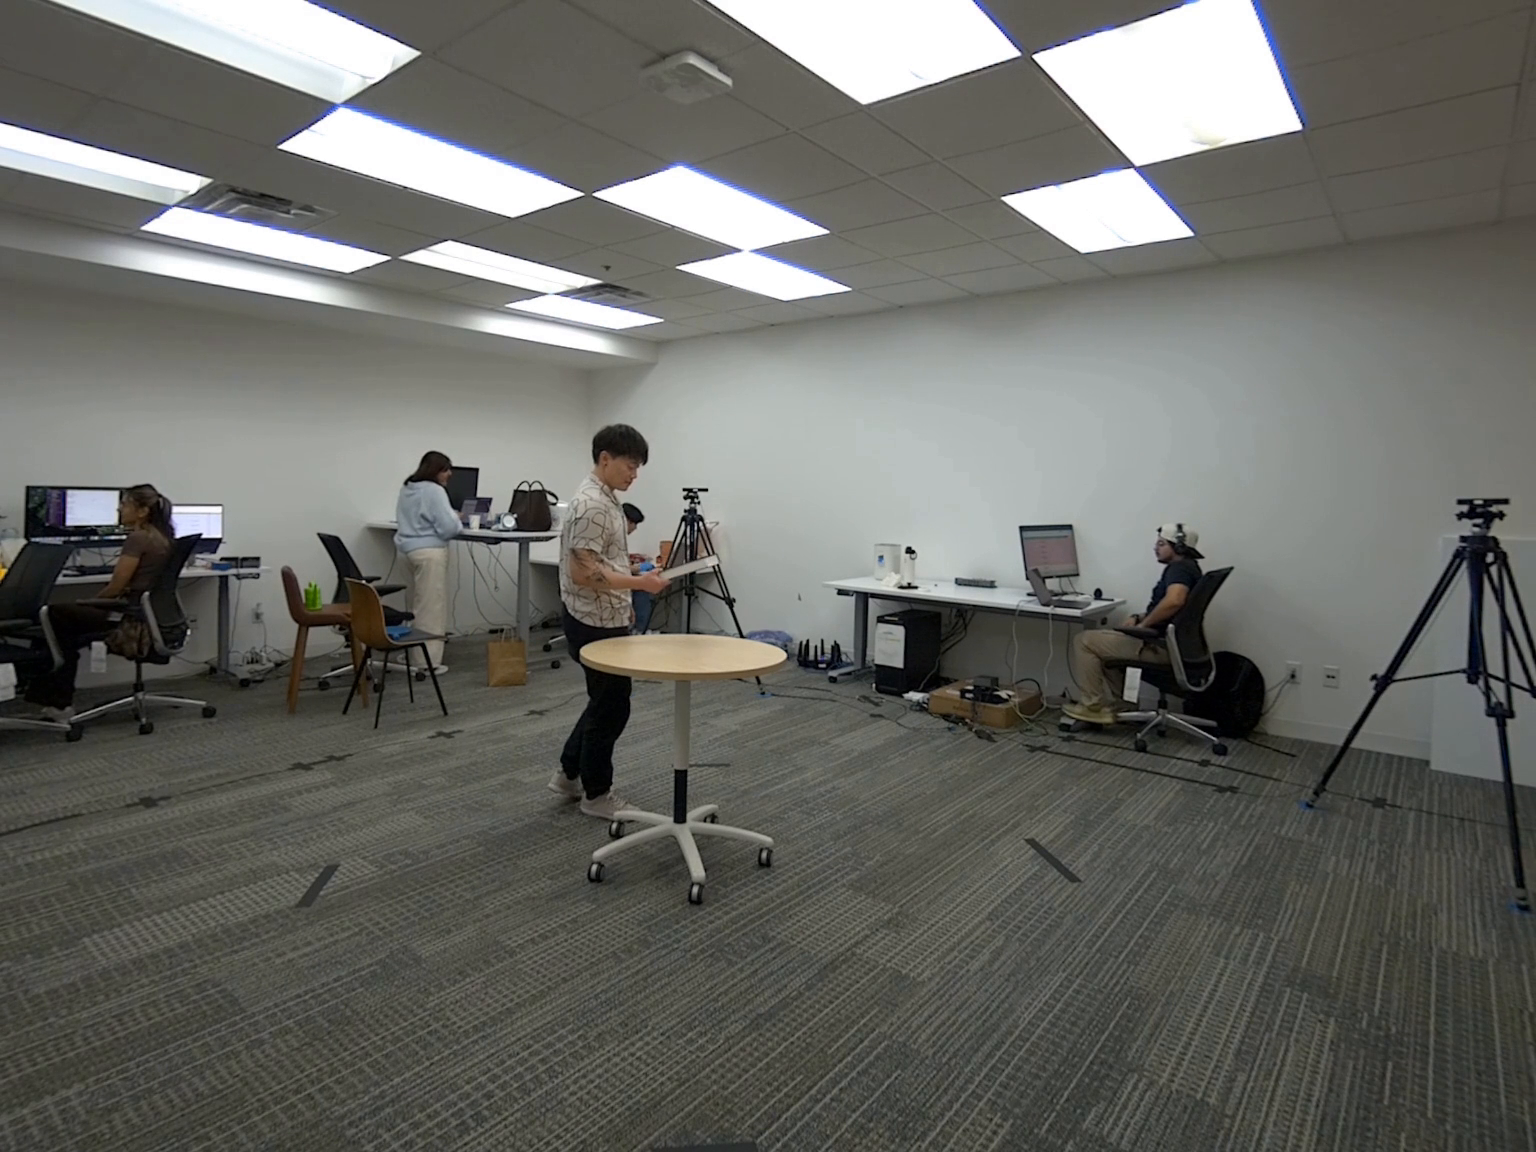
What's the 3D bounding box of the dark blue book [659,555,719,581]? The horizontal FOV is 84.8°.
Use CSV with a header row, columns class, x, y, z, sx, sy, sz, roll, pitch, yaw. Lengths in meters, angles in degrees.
class,x,y,z,sx,sy,sz,roll,pitch,yaw
dark blue book,-0.347,-0.034,3.468,0.248,0.045,0.161,-16,2,17
